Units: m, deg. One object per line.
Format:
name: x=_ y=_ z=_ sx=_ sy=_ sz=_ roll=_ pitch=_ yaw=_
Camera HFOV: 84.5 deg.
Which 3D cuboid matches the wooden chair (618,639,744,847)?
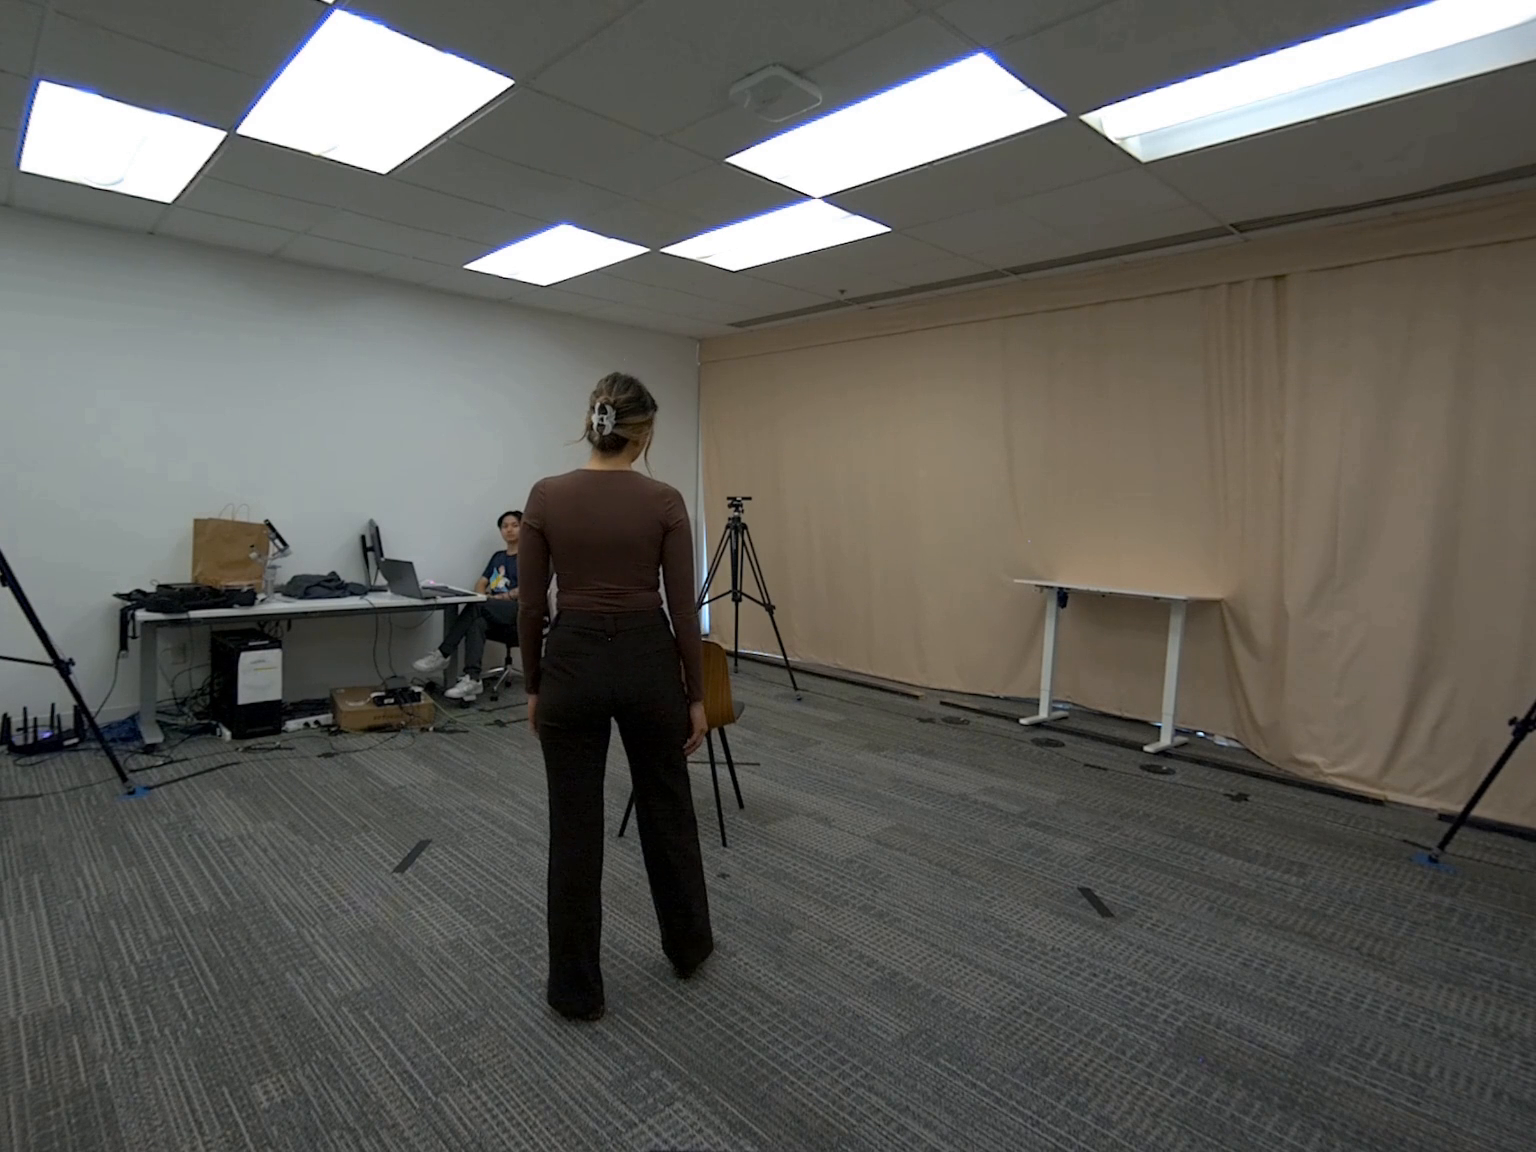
wooden chair: x=-0.349 y=0.630 z=3.594 sx=0.482 sy=0.872 sz=0.522 roll=2 pitch=8 yaw=8
